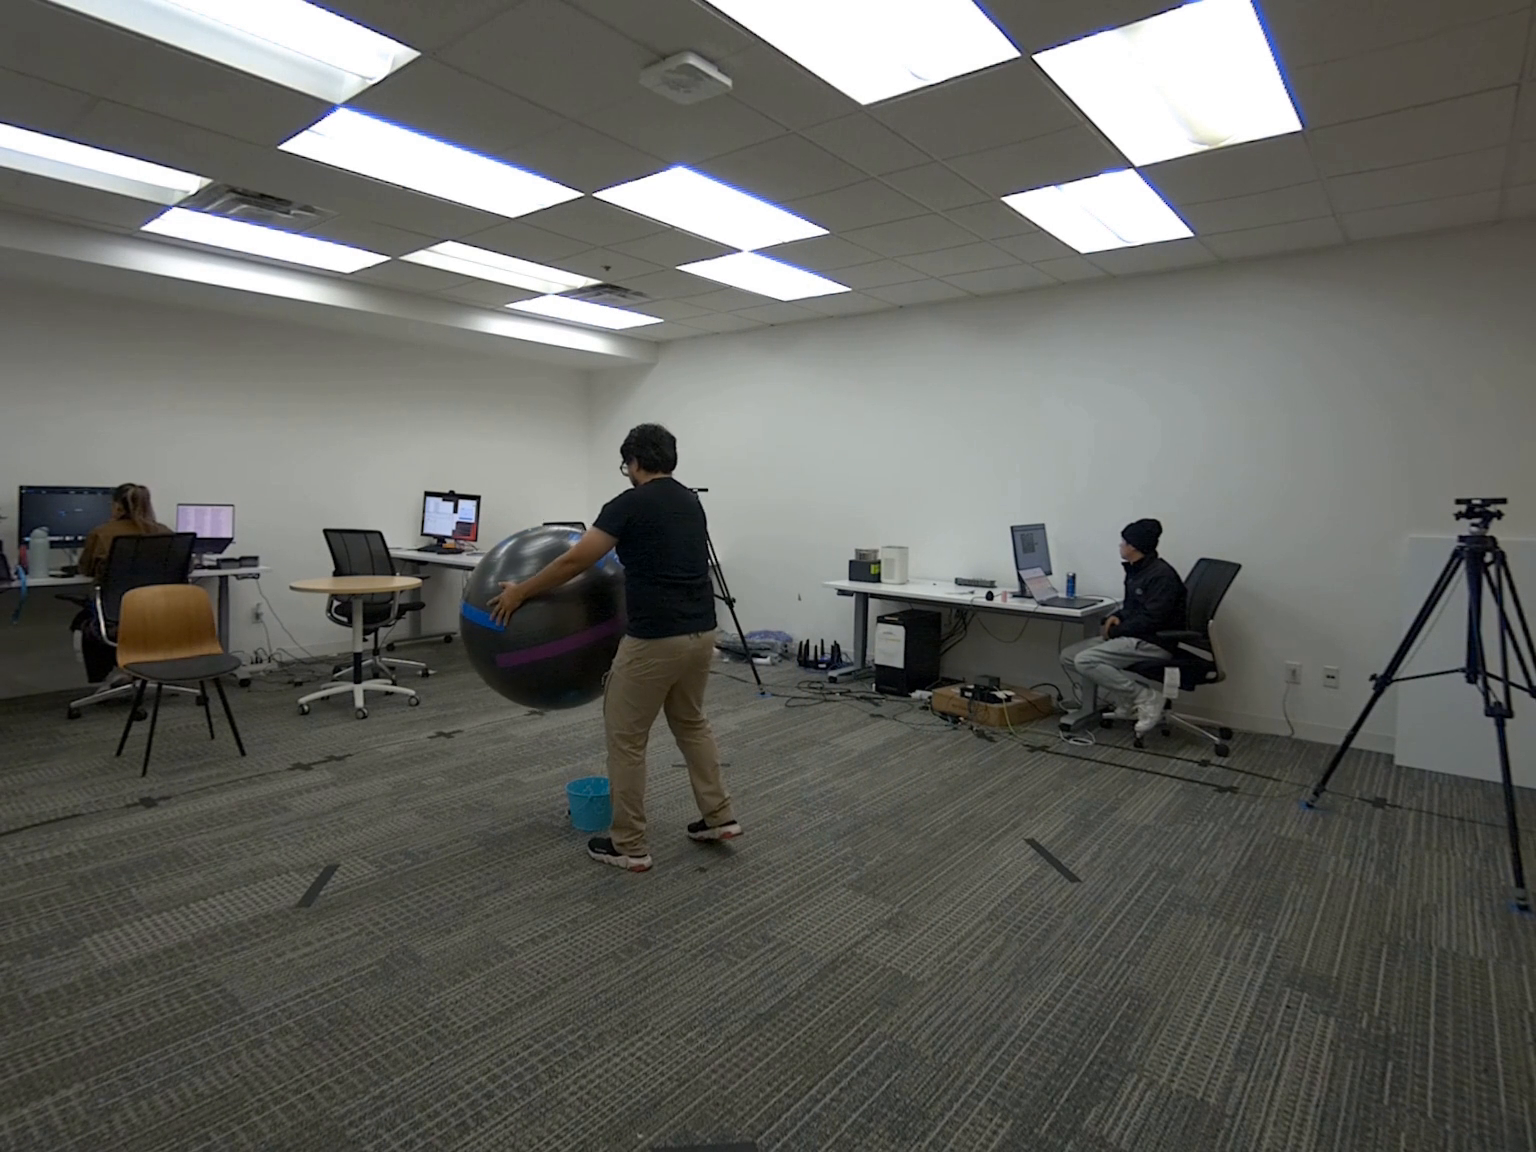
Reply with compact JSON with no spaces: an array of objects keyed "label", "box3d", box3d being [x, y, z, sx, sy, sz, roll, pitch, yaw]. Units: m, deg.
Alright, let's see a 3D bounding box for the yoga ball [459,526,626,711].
[{"label":"yoga ball","box3d":[-0.912,0.177,3.538,0.757,0.756,0.761,1,4,-2]}]
